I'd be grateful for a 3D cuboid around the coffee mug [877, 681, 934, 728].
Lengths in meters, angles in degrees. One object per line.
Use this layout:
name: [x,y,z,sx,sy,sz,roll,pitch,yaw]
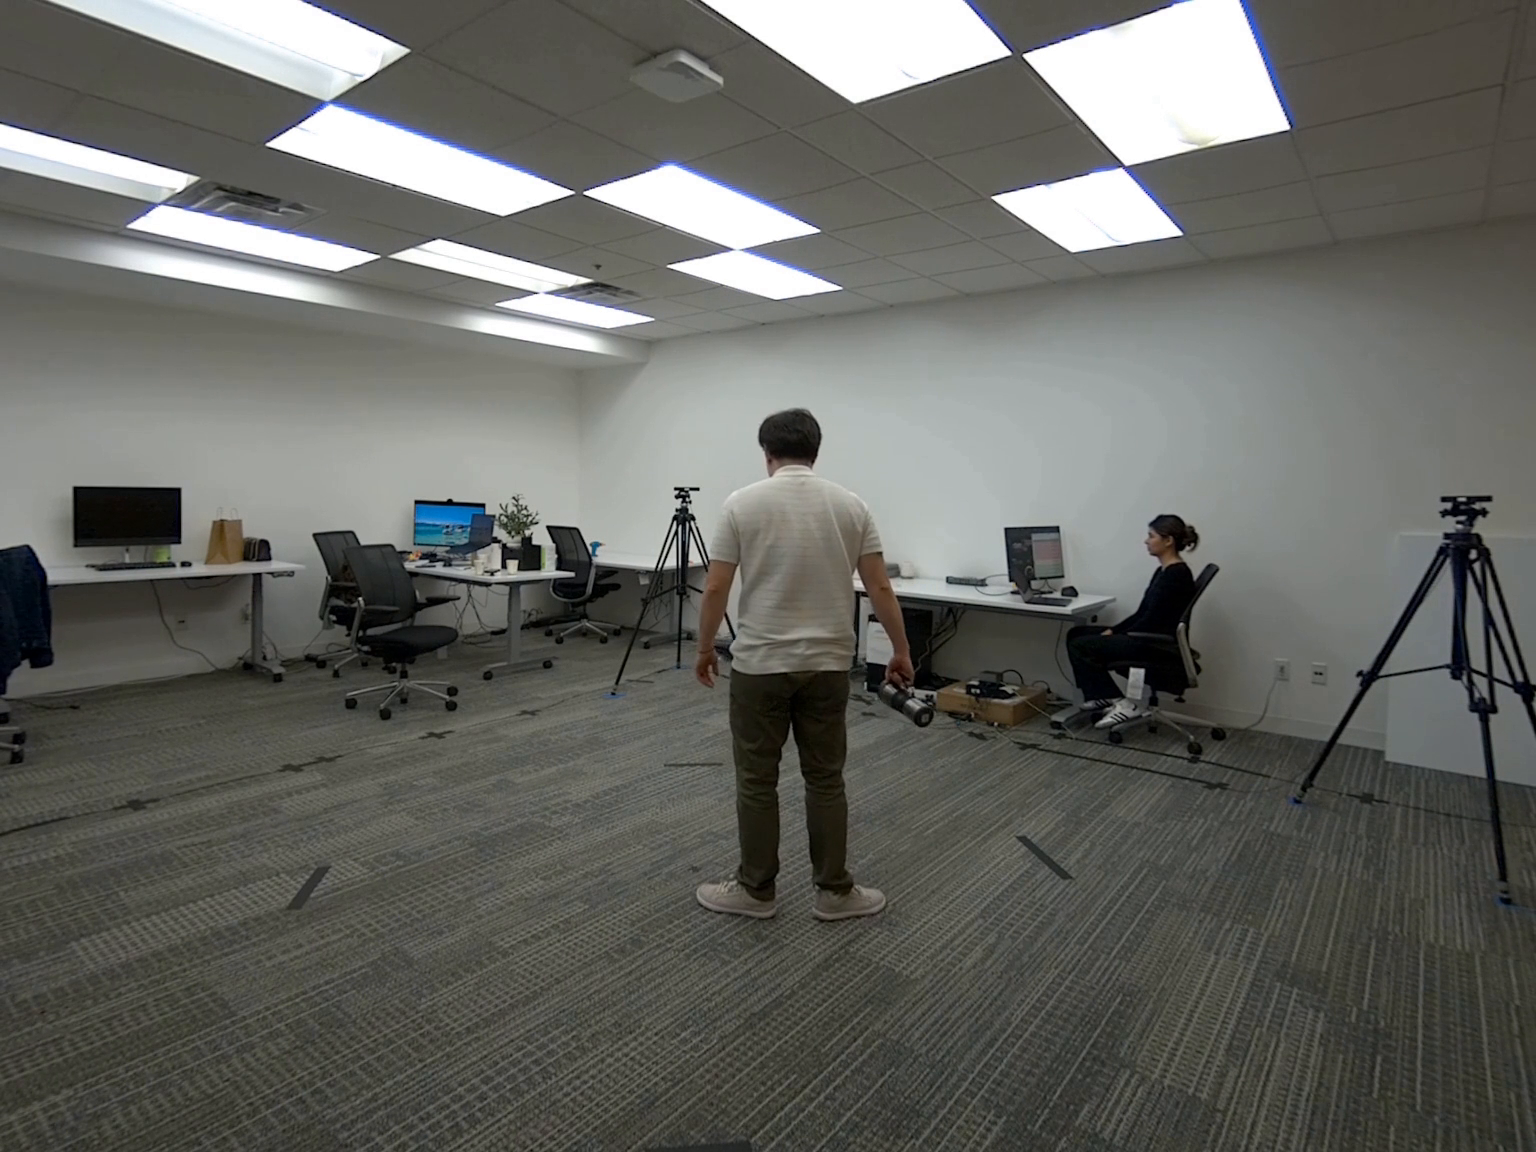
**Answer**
coffee mug: [0.440,0.394,2.773,0.086,0.121,0.209,0,12,-22]
